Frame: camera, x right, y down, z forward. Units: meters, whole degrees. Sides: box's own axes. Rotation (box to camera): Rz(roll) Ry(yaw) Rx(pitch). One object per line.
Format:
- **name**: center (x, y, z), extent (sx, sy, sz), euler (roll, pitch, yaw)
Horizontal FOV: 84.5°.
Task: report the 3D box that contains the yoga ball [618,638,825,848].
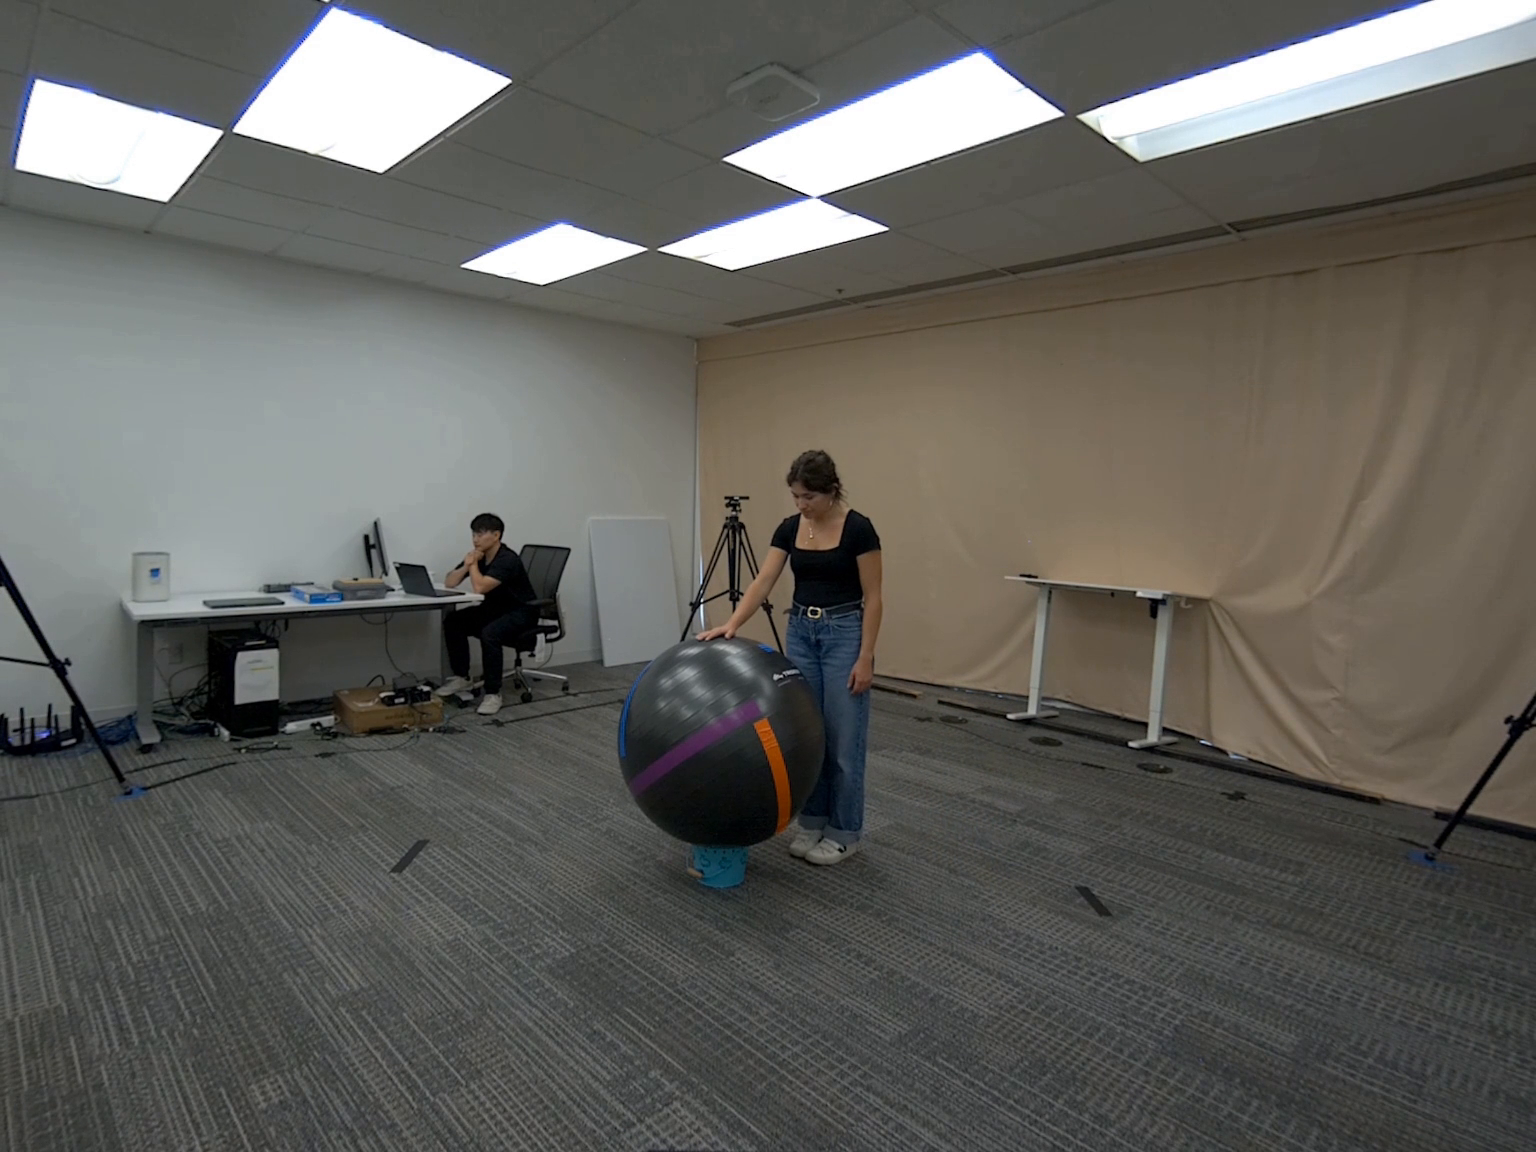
- **yoga ball**: center (-0.176, 0.595, 3.069), extent (0.757, 0.756, 0.761), euler (1, 4, -1)
